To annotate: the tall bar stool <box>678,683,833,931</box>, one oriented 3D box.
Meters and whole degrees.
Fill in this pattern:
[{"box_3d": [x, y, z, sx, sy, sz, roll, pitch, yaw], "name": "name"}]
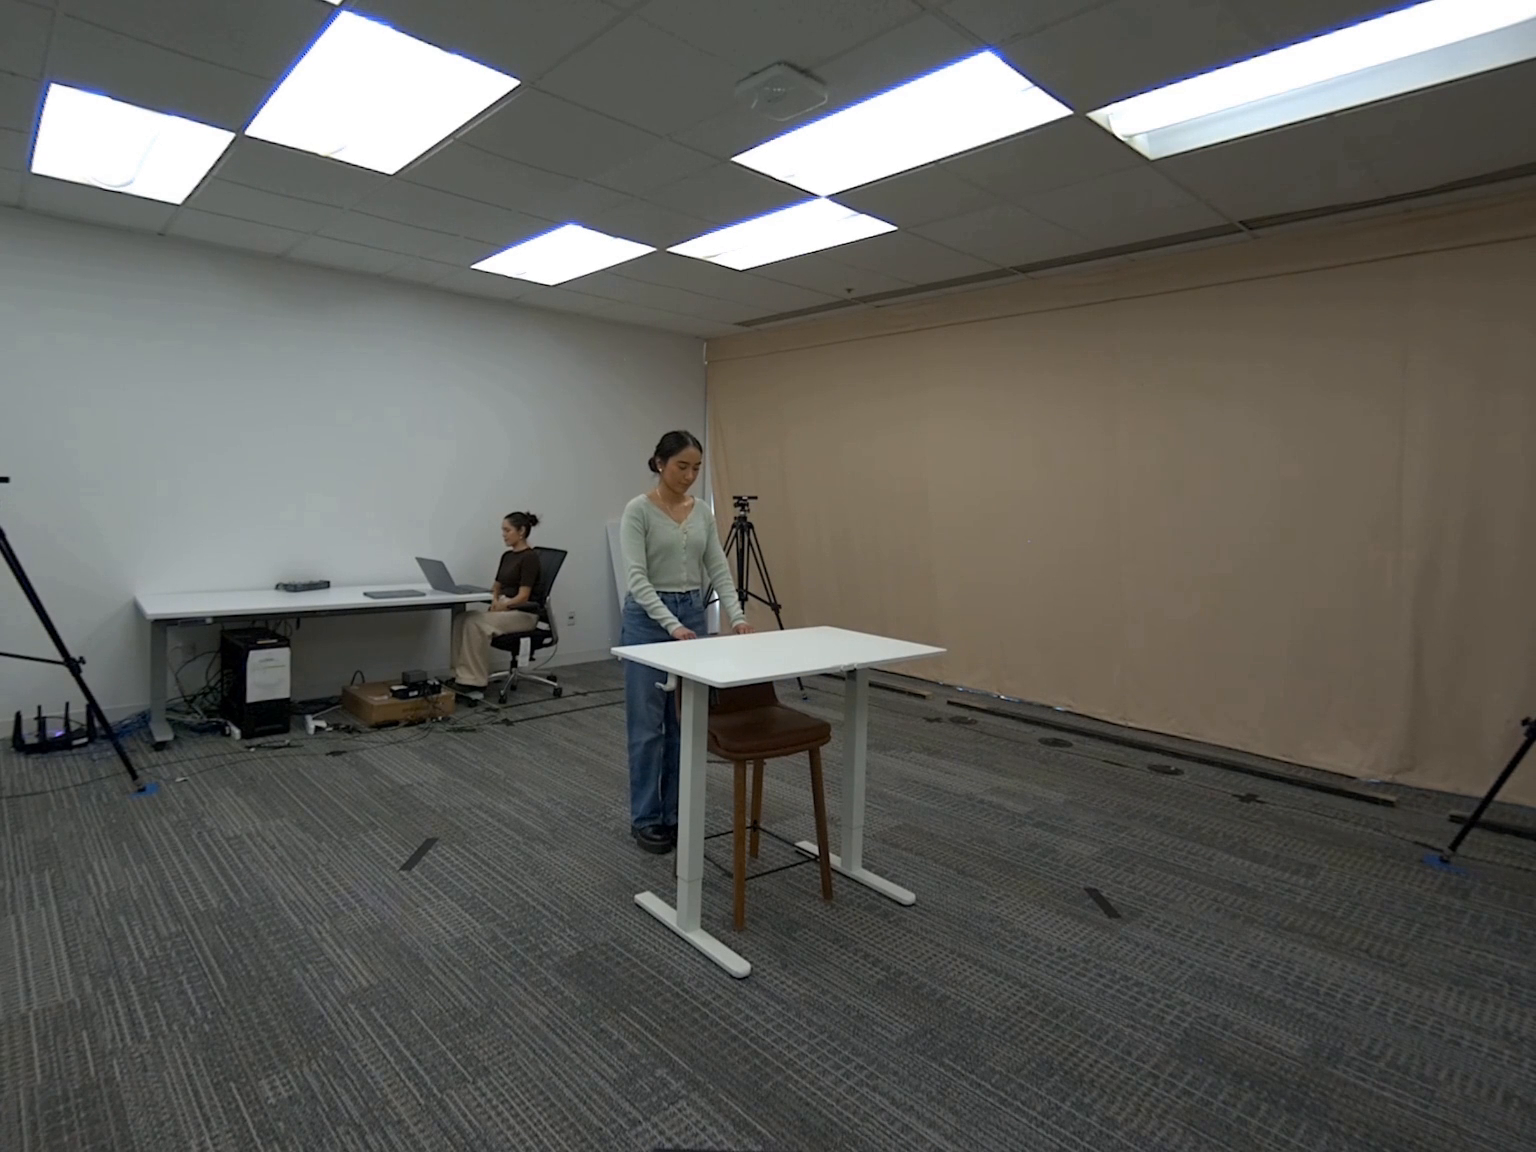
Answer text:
[{"box_3d": [-0.068, 0.684, 2.979, 0.447, 0.888, 0.478, -2, 2, -35], "name": "tall bar stool"}]
